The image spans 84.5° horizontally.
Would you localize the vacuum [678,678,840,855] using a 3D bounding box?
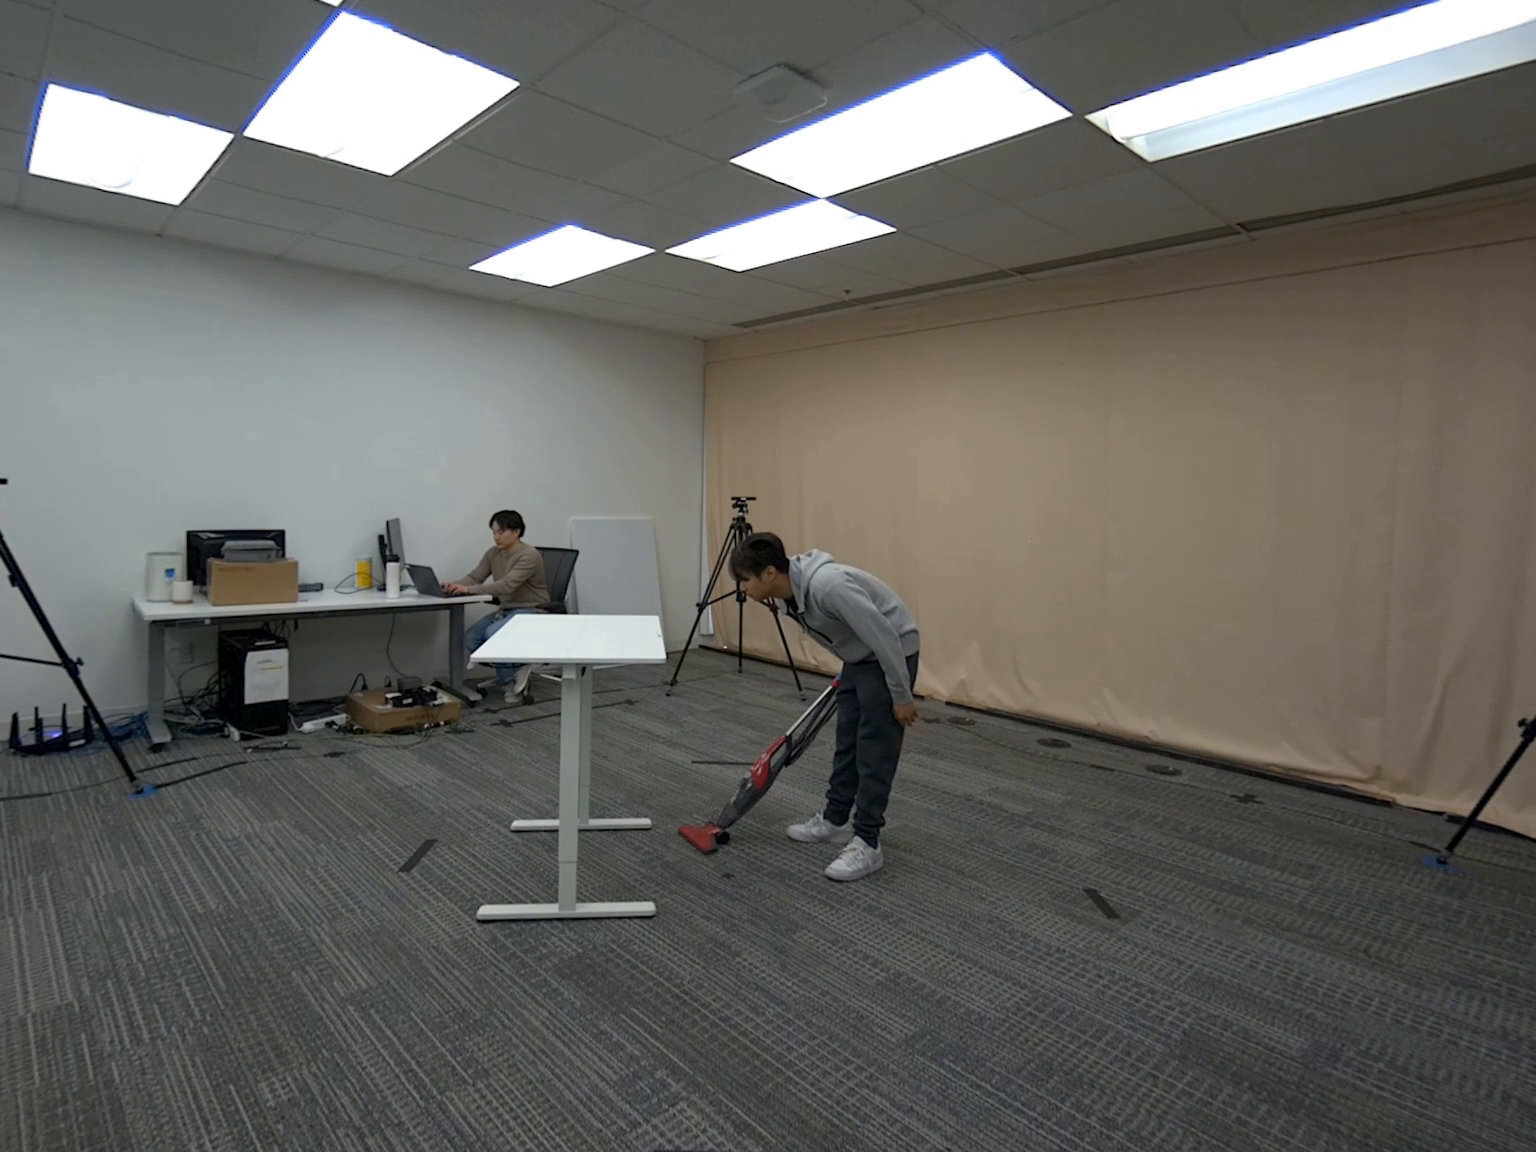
[{"bbox_3d":[0.073,0.732,3.584,1.047,0.140,0.259,-42,29,-20],"label":"vacuum"}]
